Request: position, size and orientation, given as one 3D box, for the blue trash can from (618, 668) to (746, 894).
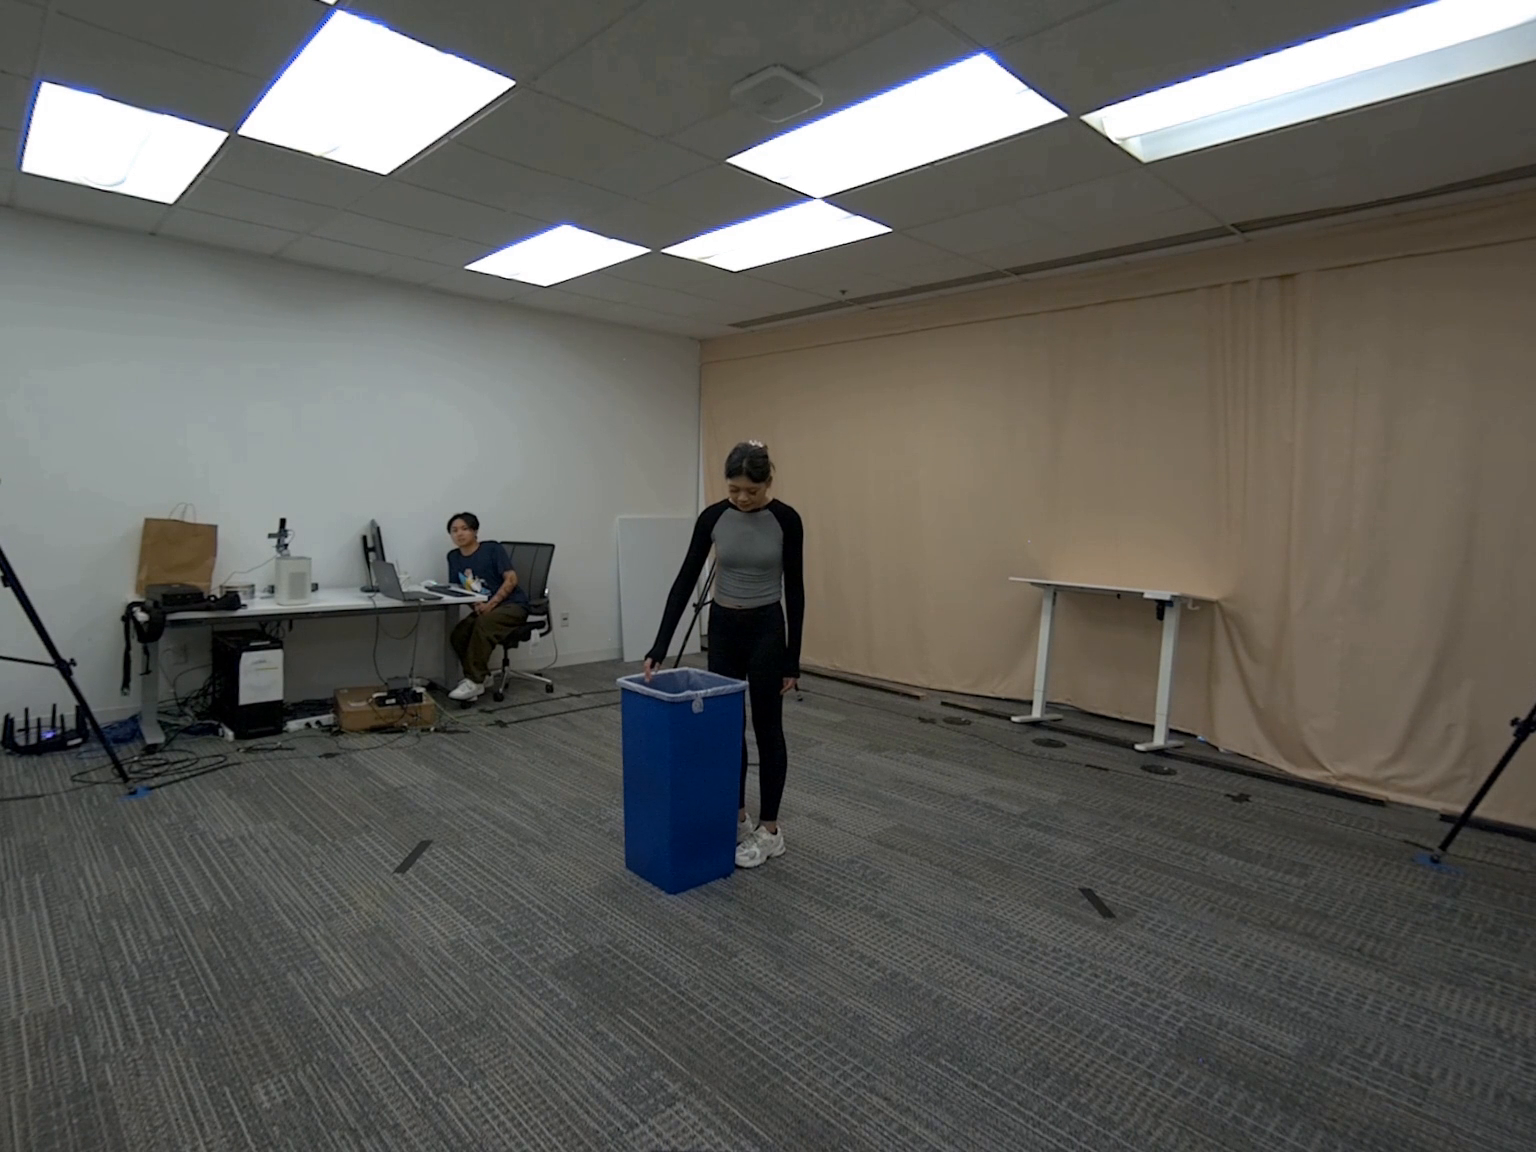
[{"bbox_3d":[-0.338,0.744,3.135,0.369,0.712,0.384,-2,5,-43],"label":"blue trash can"}]
